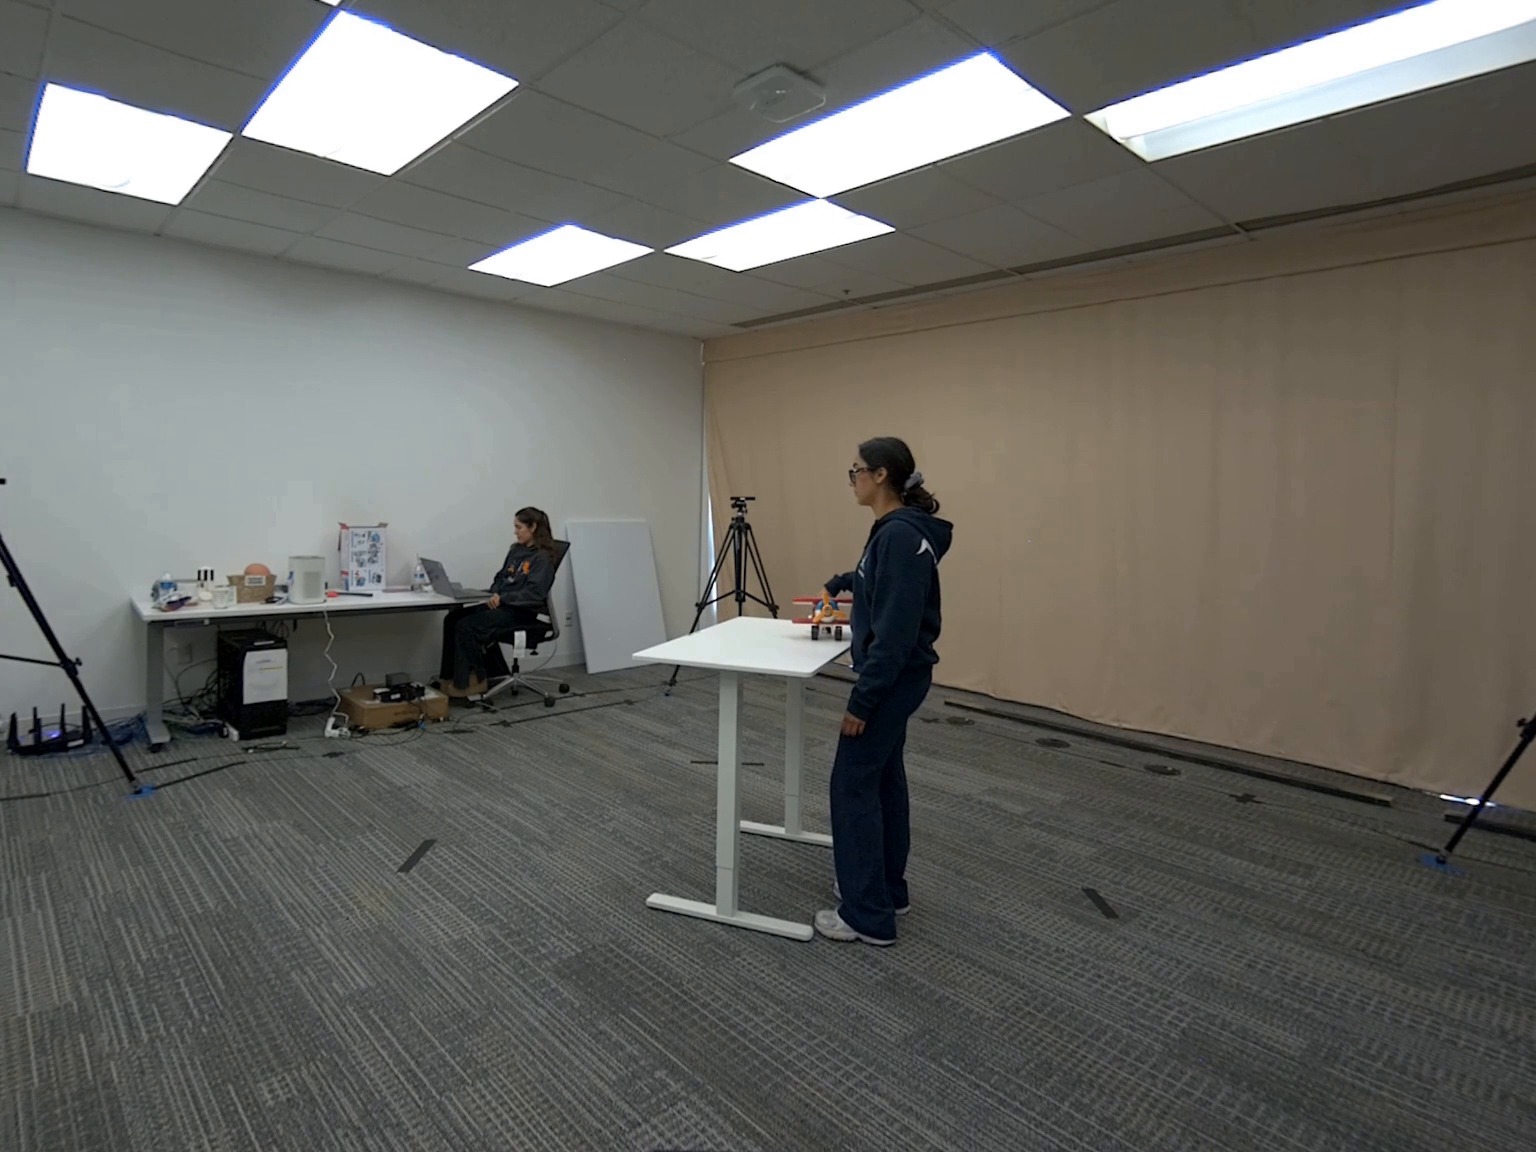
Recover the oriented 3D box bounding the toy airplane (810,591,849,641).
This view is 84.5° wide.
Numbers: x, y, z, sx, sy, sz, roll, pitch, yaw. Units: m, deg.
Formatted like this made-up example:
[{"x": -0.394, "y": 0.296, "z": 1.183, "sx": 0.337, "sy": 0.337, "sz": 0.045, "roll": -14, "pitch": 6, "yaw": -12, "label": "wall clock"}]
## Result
[{"x": 0.192, "y": 0.150, "z": 3.171, "sx": 0.246, "sy": 0.156, "sz": 0.264, "roll": -1, "pitch": 5, "yaw": -25, "label": "toy airplane"}]
